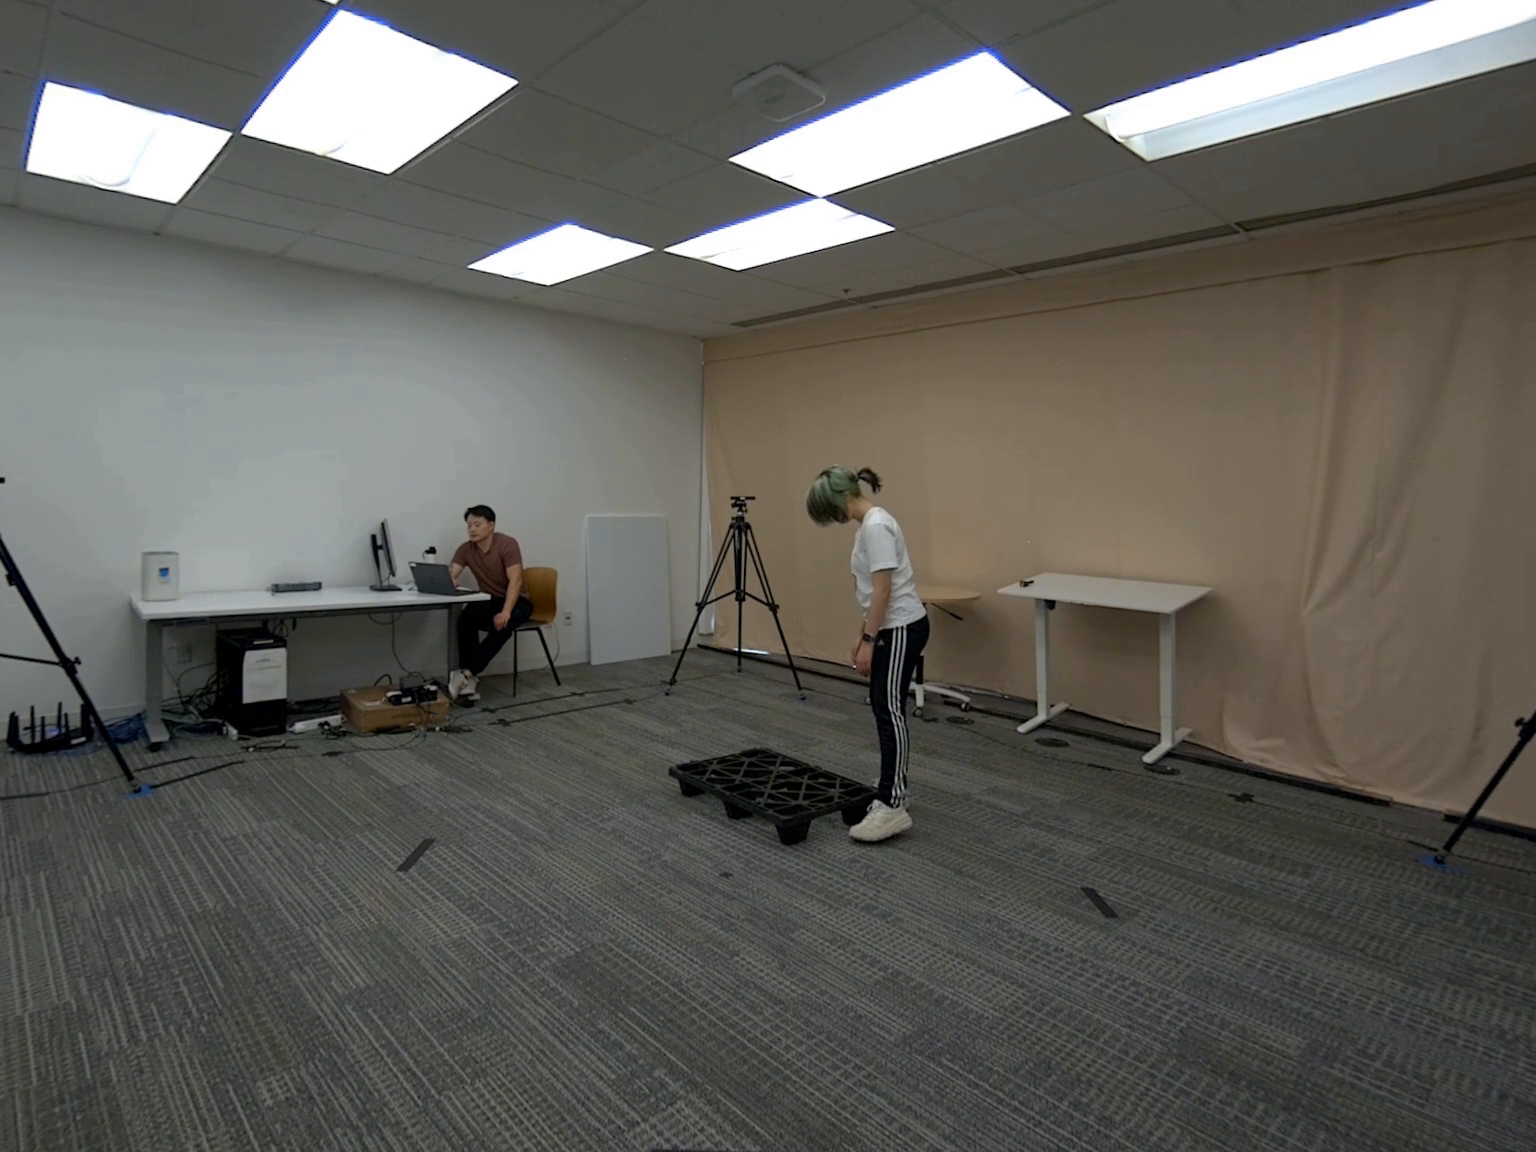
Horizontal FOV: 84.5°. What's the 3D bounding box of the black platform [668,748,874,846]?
[{"bbox_3d":[0.008,0.980,3.803,0.591,0.143,0.826,-3,7,-40],"label":"black platform"}]
